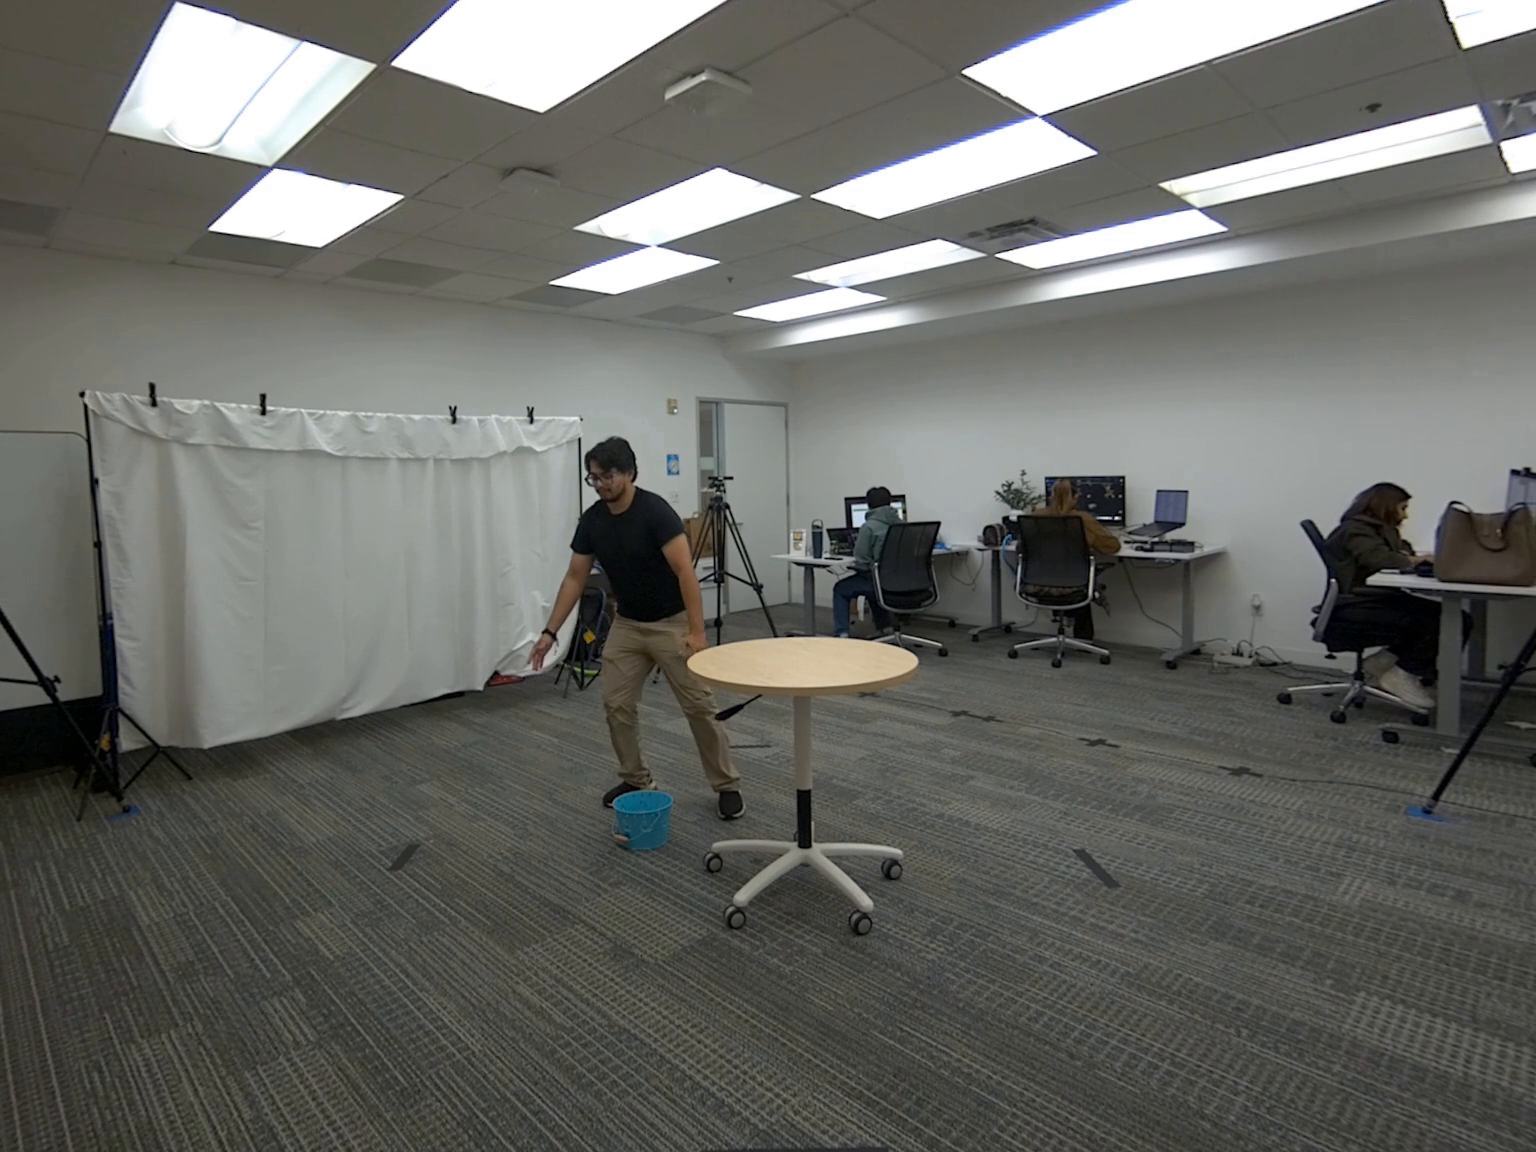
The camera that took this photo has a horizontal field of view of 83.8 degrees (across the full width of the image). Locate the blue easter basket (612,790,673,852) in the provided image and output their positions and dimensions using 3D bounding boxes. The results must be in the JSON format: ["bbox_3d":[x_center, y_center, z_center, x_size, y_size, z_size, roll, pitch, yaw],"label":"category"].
[{"bbox_3d":[-0.485,0.944,3.303,0.243,0.155,0.245,-1,5,-2],"label":"blue easter basket"}]
